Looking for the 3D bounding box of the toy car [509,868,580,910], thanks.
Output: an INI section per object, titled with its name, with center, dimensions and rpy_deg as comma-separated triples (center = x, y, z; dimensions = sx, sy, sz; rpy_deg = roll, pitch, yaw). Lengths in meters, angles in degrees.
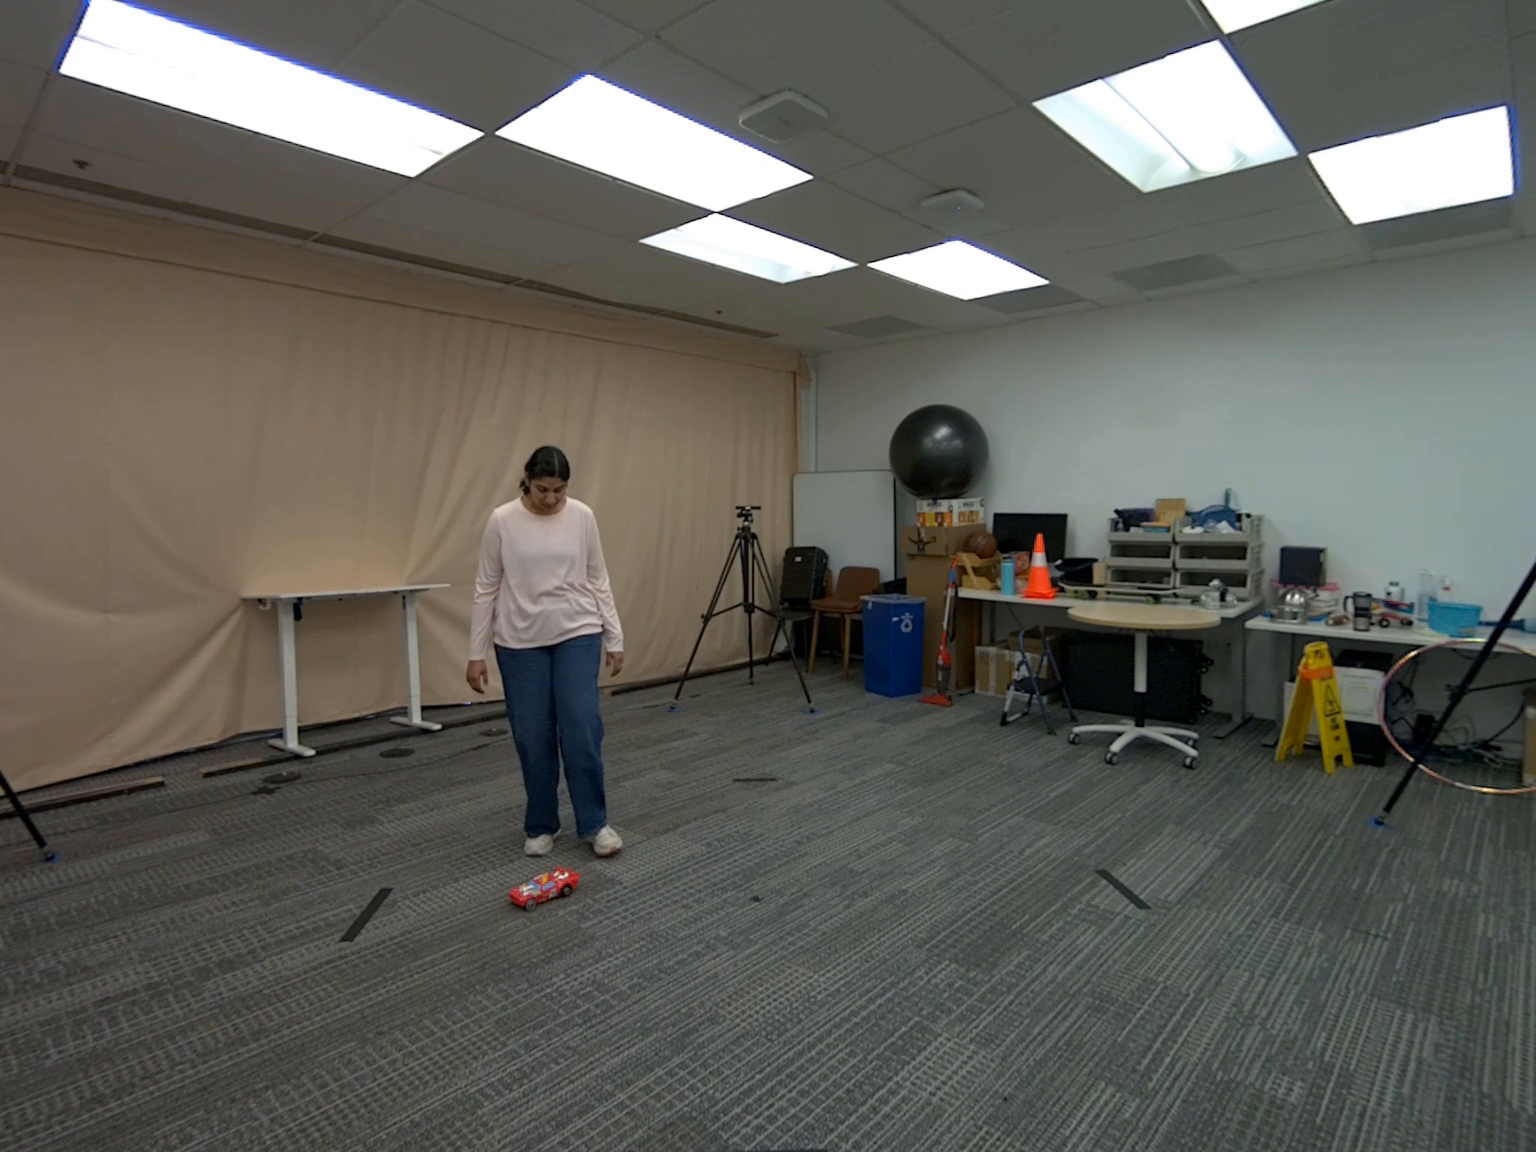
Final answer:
[toy car]
center = -0.797, 1.113, 3.009
dimensions = 0.248, 0.082, 0.134
rpy_deg = -20, 15, -41
